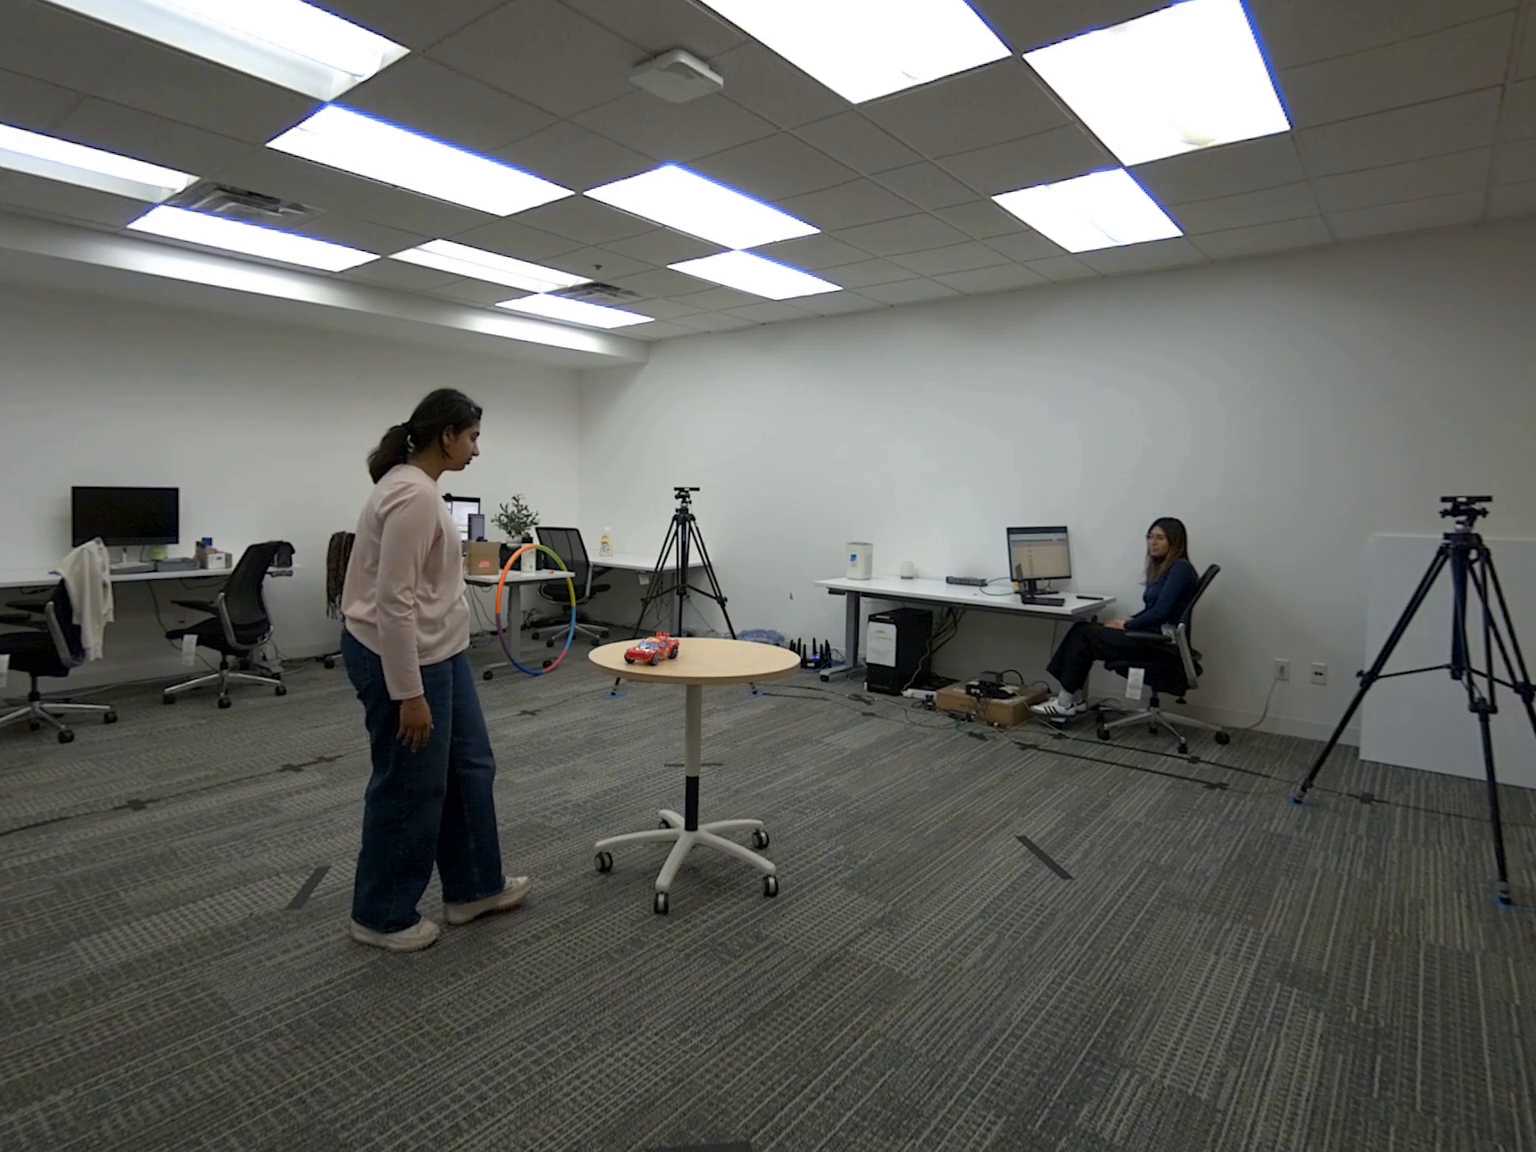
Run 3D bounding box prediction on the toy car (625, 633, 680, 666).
[{"bbox_3d":[-0.401,0.262,2.987,0.133,0.082,0.253,4,17,18],"label":"toy car"}]
